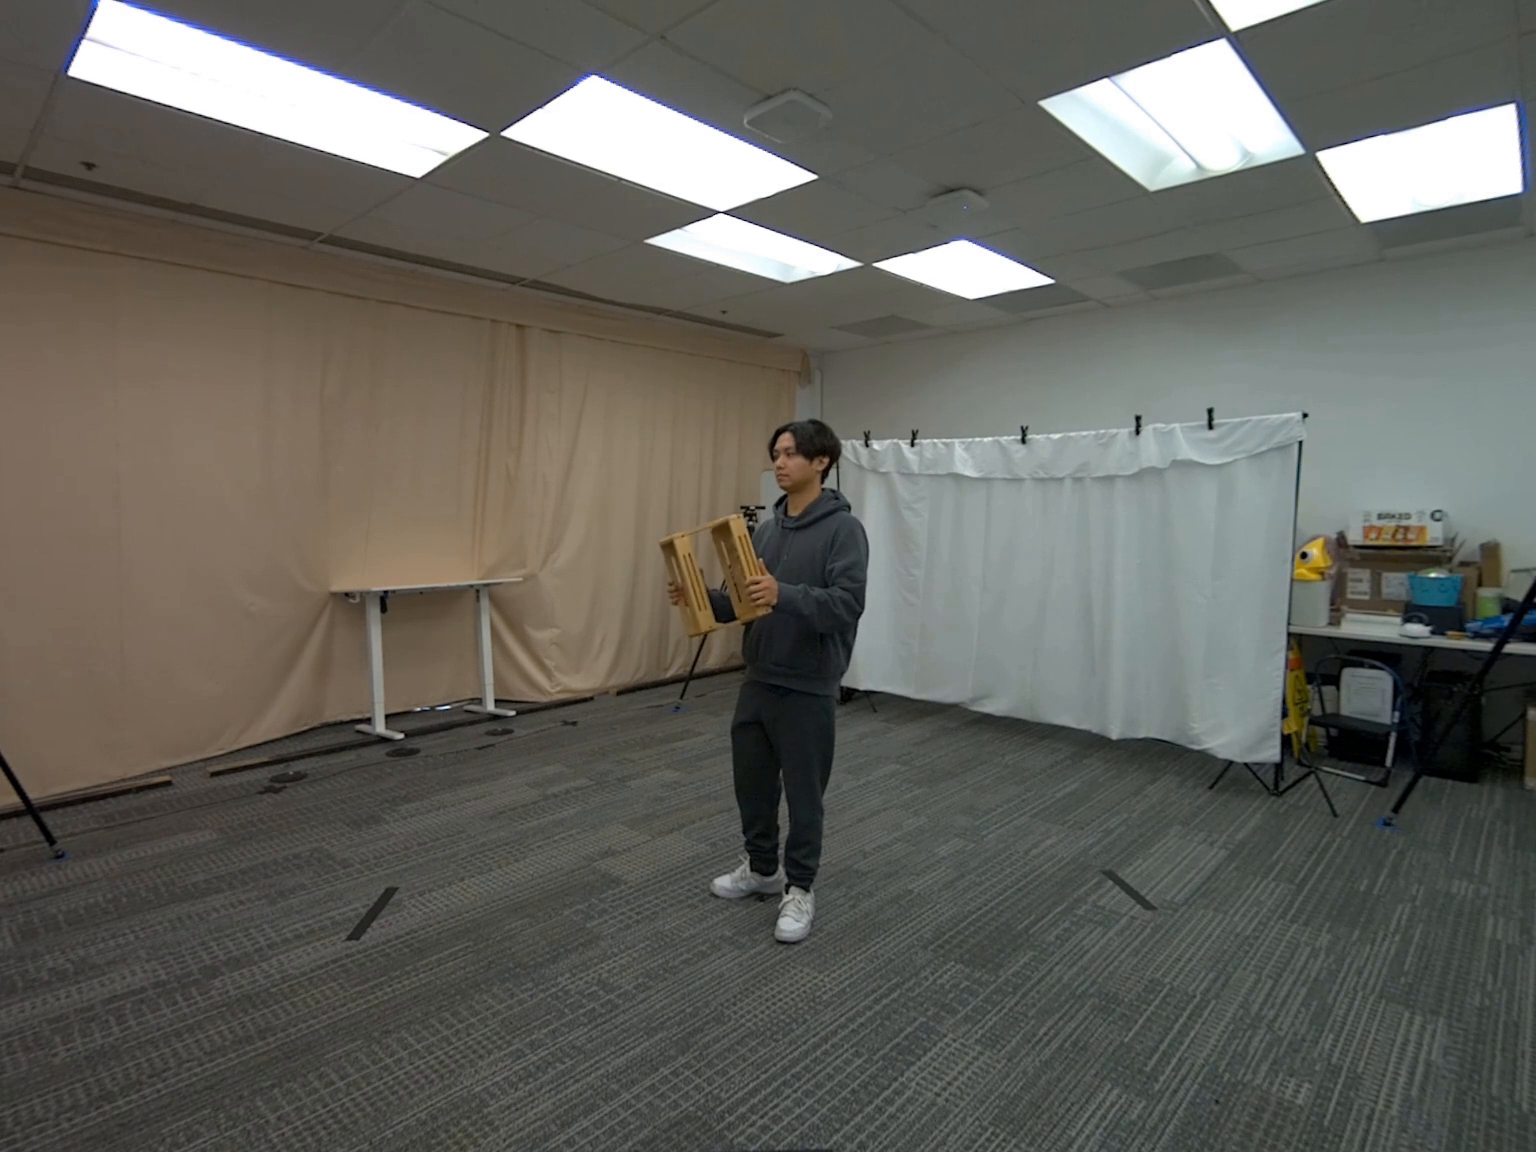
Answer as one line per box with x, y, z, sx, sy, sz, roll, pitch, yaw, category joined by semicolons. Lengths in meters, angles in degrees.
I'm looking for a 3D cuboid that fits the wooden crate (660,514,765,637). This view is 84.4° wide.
-0.173;0.004;2.594;0.272;0.325;0.302;-16;-2;-6;wooden crate
